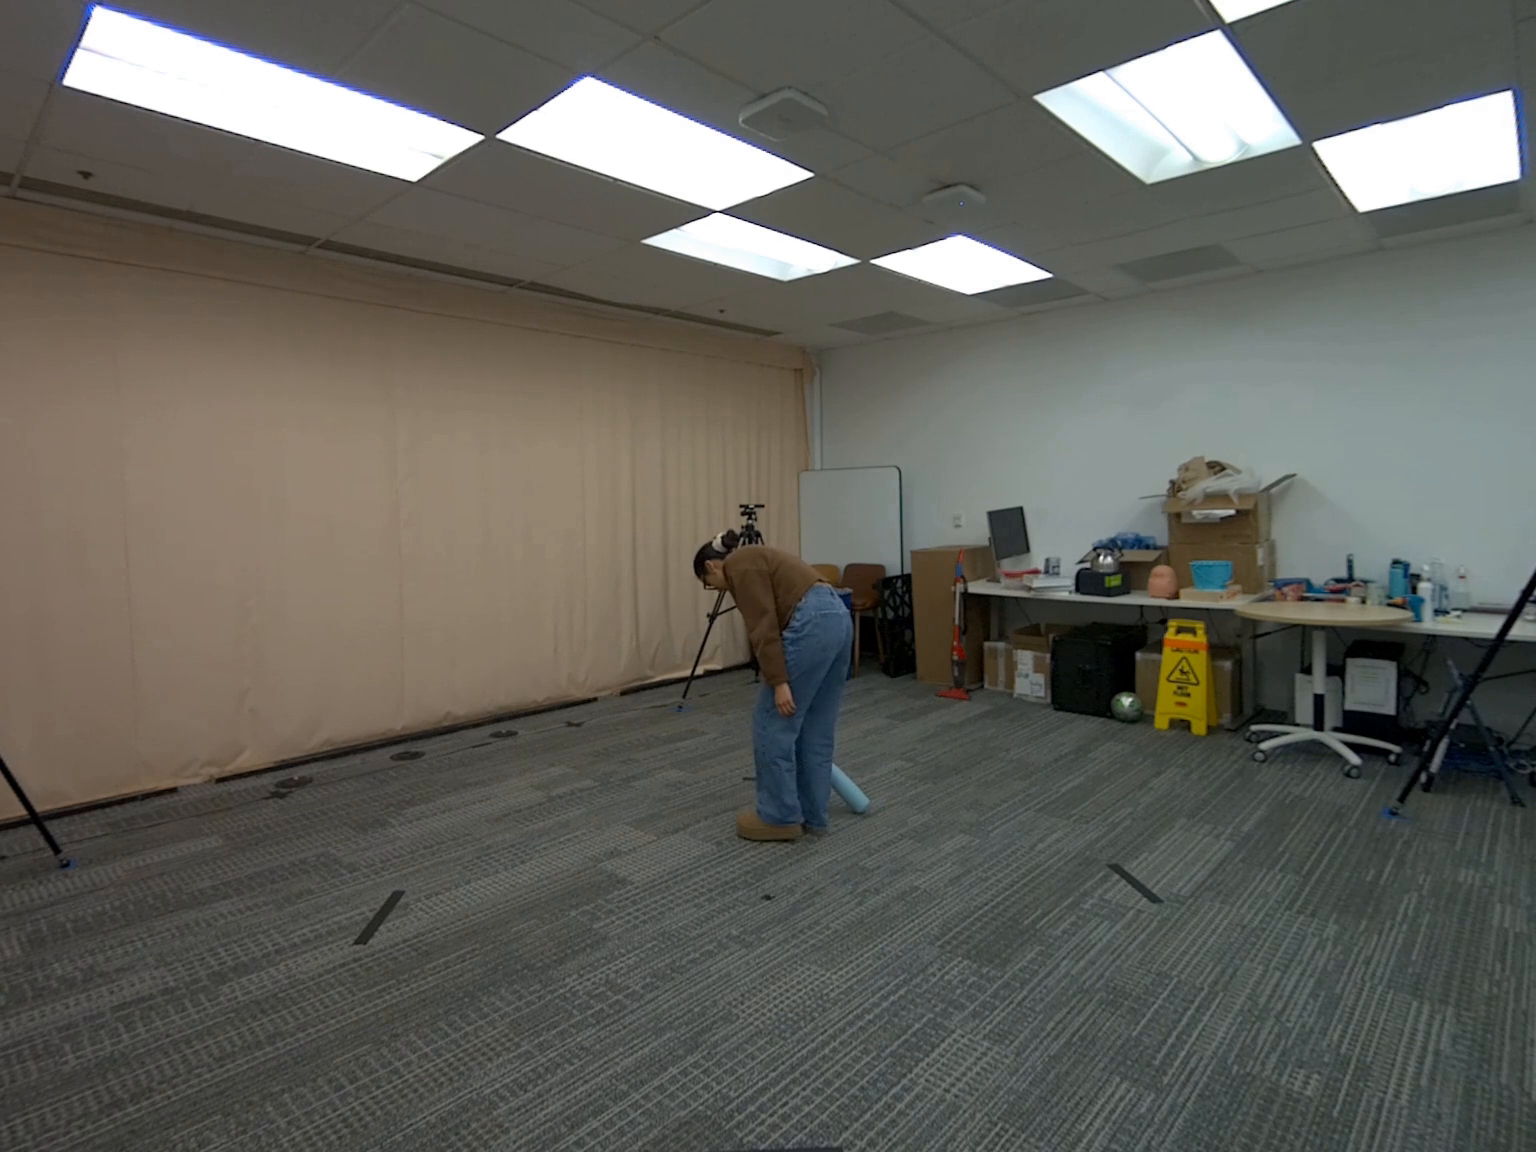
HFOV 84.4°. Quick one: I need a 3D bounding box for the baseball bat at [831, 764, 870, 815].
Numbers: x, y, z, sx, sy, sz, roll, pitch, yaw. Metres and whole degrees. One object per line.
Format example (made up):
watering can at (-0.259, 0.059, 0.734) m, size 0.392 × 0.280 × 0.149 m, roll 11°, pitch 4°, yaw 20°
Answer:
baseball bat at (0.248, 0.853, 3.827) m, size 0.088 × 0.551 × 0.088 m, roll -42°, pitch -12°, yaw -12°
